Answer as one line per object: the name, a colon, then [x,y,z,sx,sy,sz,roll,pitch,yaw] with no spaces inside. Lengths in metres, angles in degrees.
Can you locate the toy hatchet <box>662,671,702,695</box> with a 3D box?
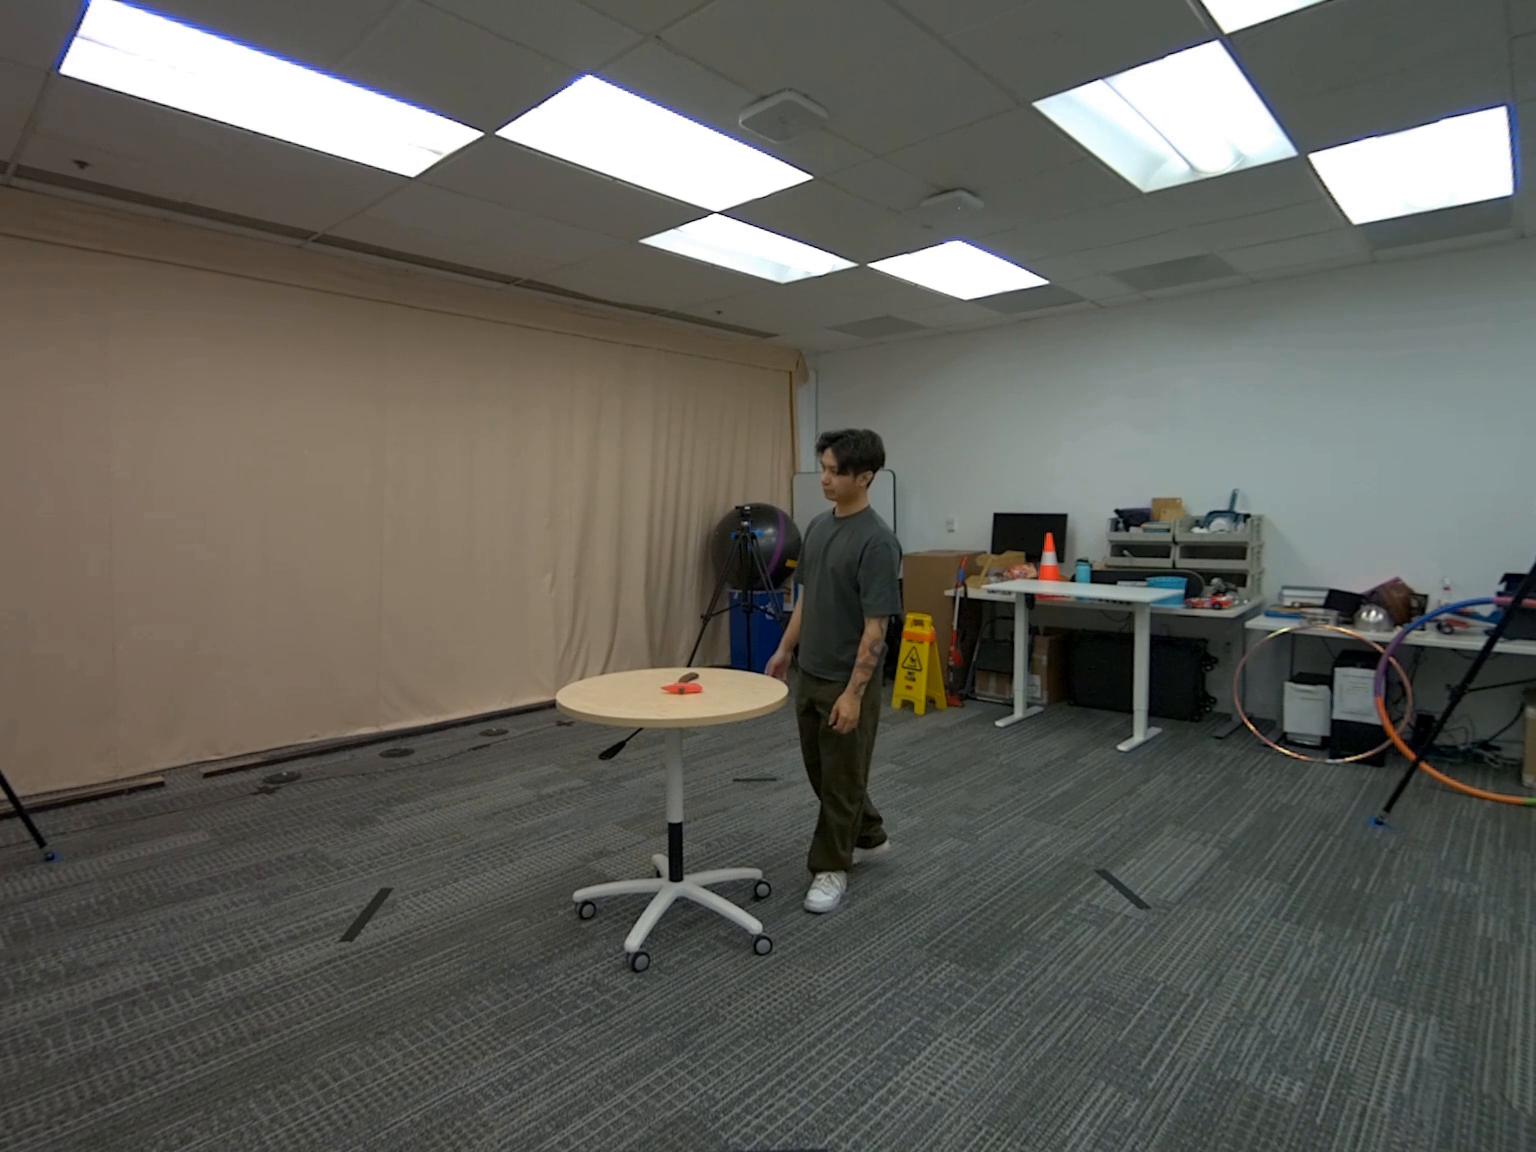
toy hatchet: [-0.253,0.363,2.847,0.133,0.029,0.266,0,4,15]
